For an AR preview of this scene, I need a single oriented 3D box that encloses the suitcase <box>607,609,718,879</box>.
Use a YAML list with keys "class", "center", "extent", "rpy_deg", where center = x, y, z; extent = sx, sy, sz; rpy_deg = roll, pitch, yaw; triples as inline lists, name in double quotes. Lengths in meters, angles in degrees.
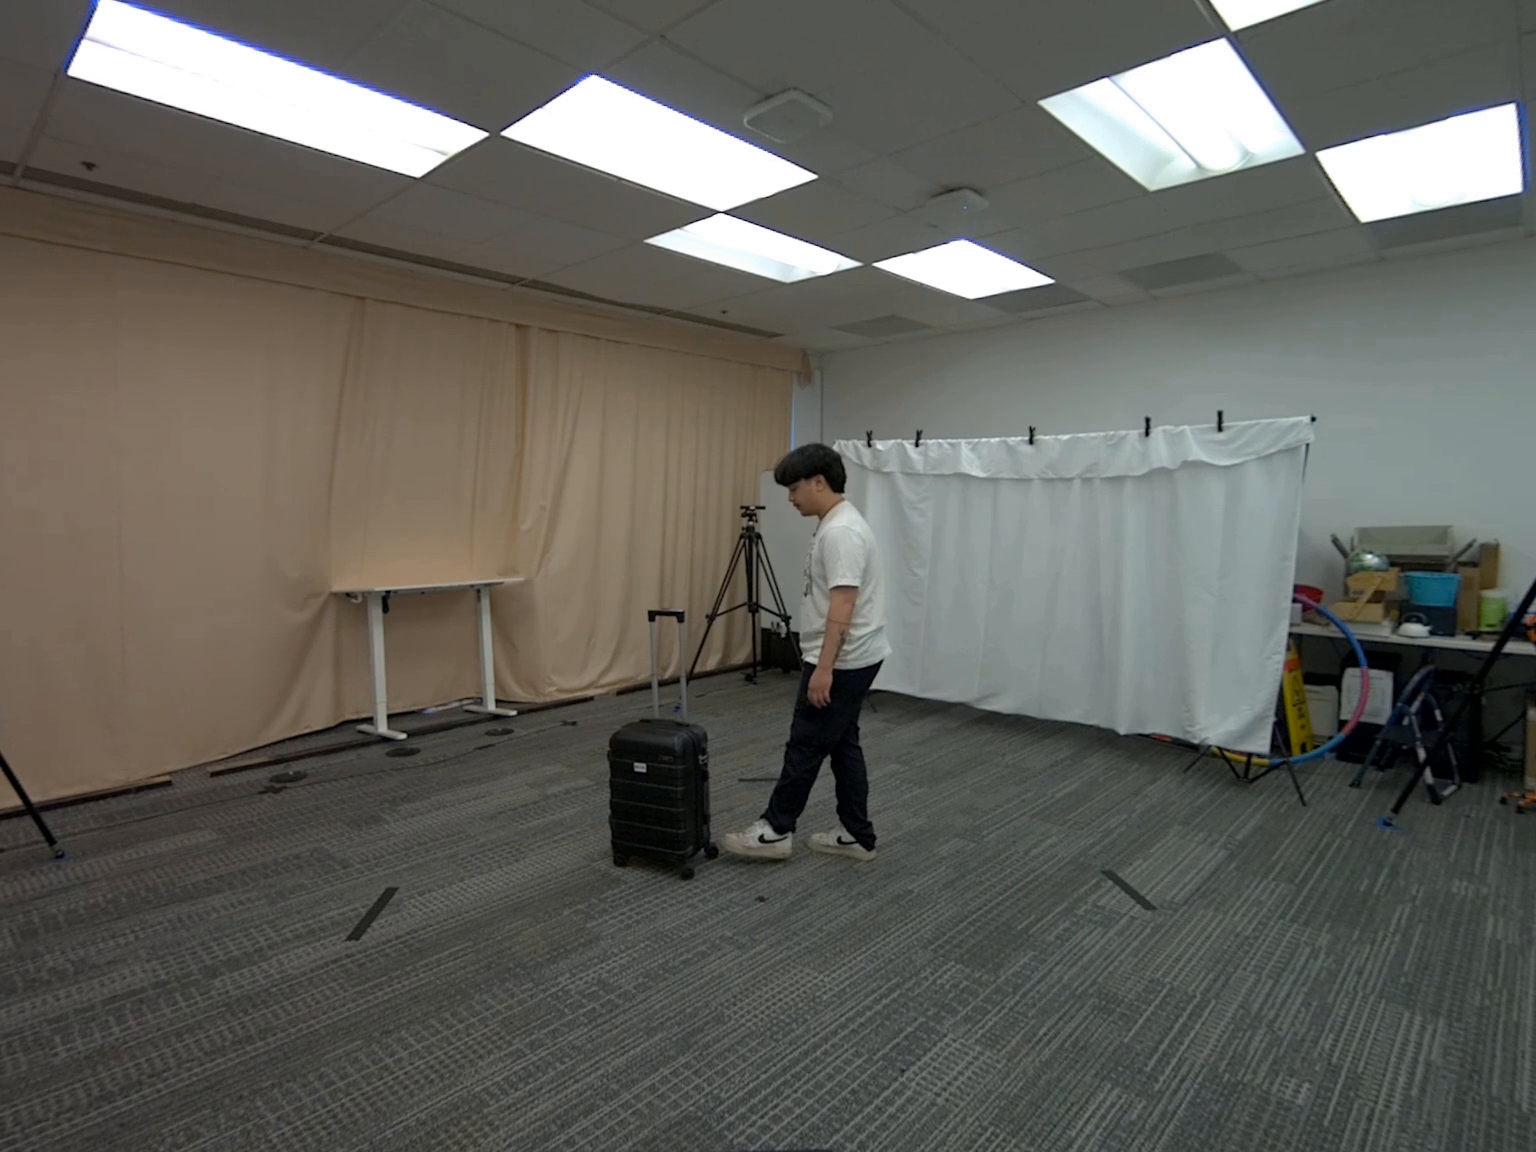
- class: "suitcase"
  center: [-0.428, 0.650, 3.271]
  extent: [0.393, 0.975, 0.252]
  rpy_deg: [-1, 5, 24]
